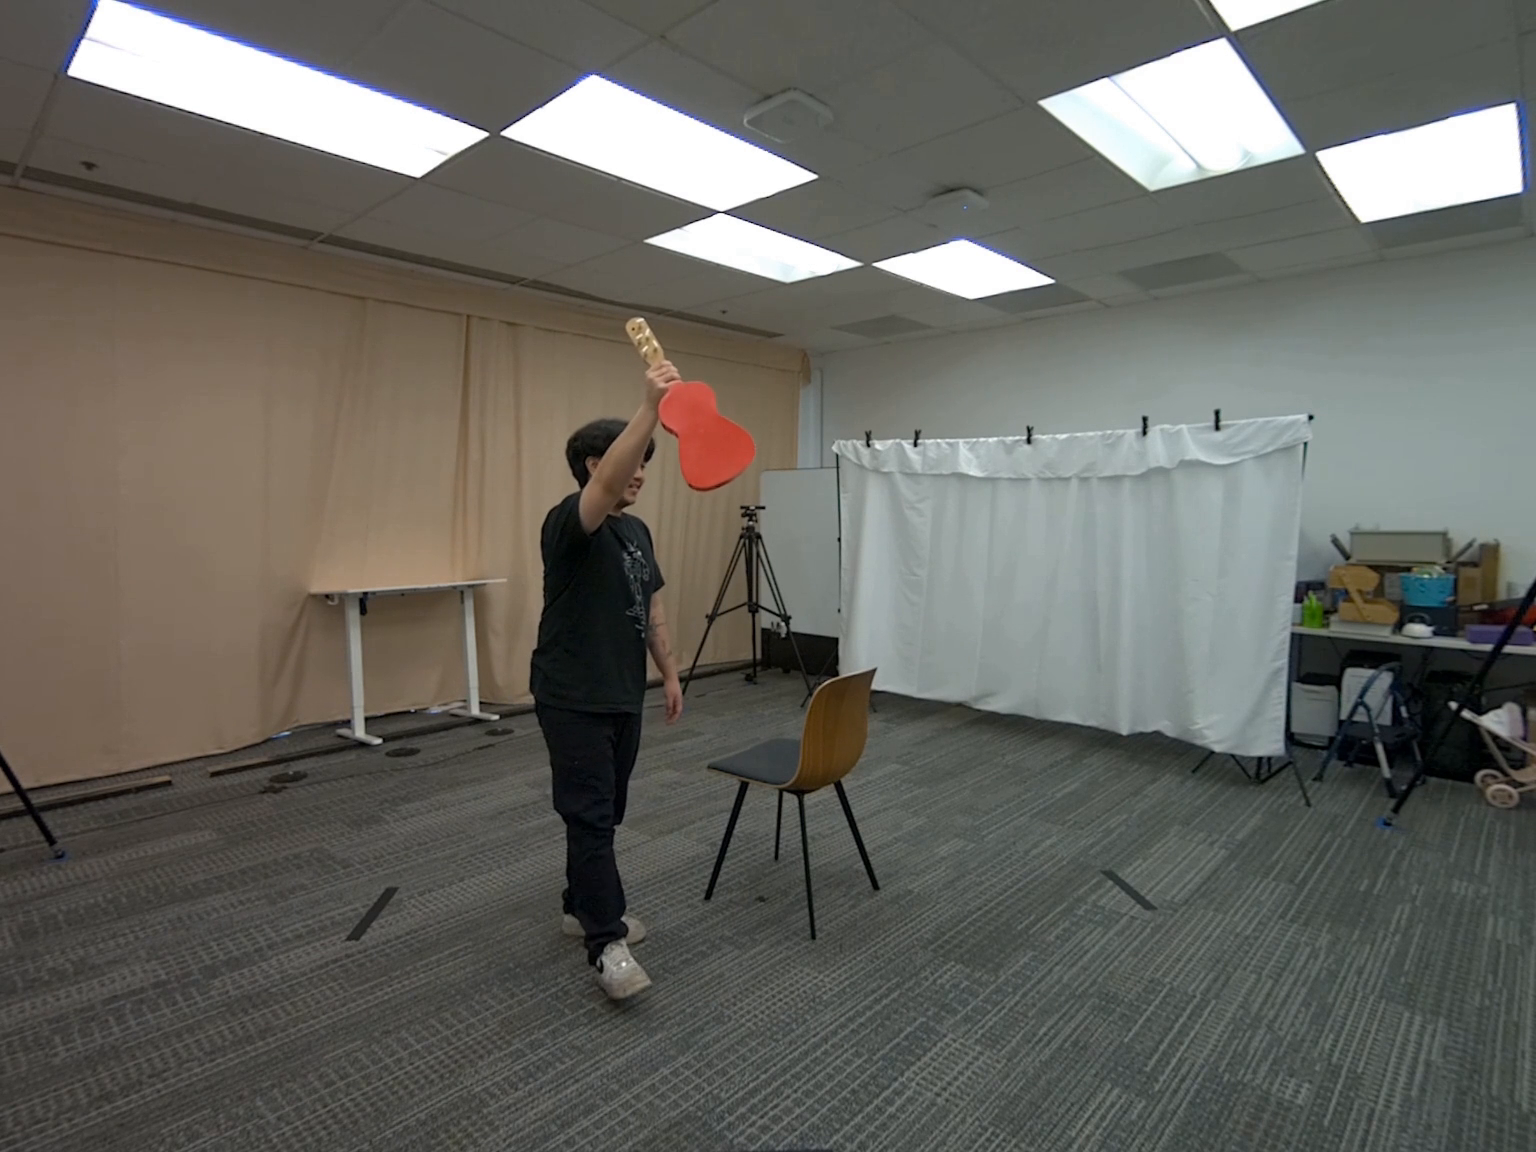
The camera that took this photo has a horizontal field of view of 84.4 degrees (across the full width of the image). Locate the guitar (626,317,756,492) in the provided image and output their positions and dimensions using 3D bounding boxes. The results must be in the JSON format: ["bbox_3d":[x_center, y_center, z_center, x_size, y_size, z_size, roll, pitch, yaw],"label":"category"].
[{"bbox_3d":[-0.239,-0.432,2.122,0.192,0.501,0.070,-38,-6,-5],"label":"guitar"}]
